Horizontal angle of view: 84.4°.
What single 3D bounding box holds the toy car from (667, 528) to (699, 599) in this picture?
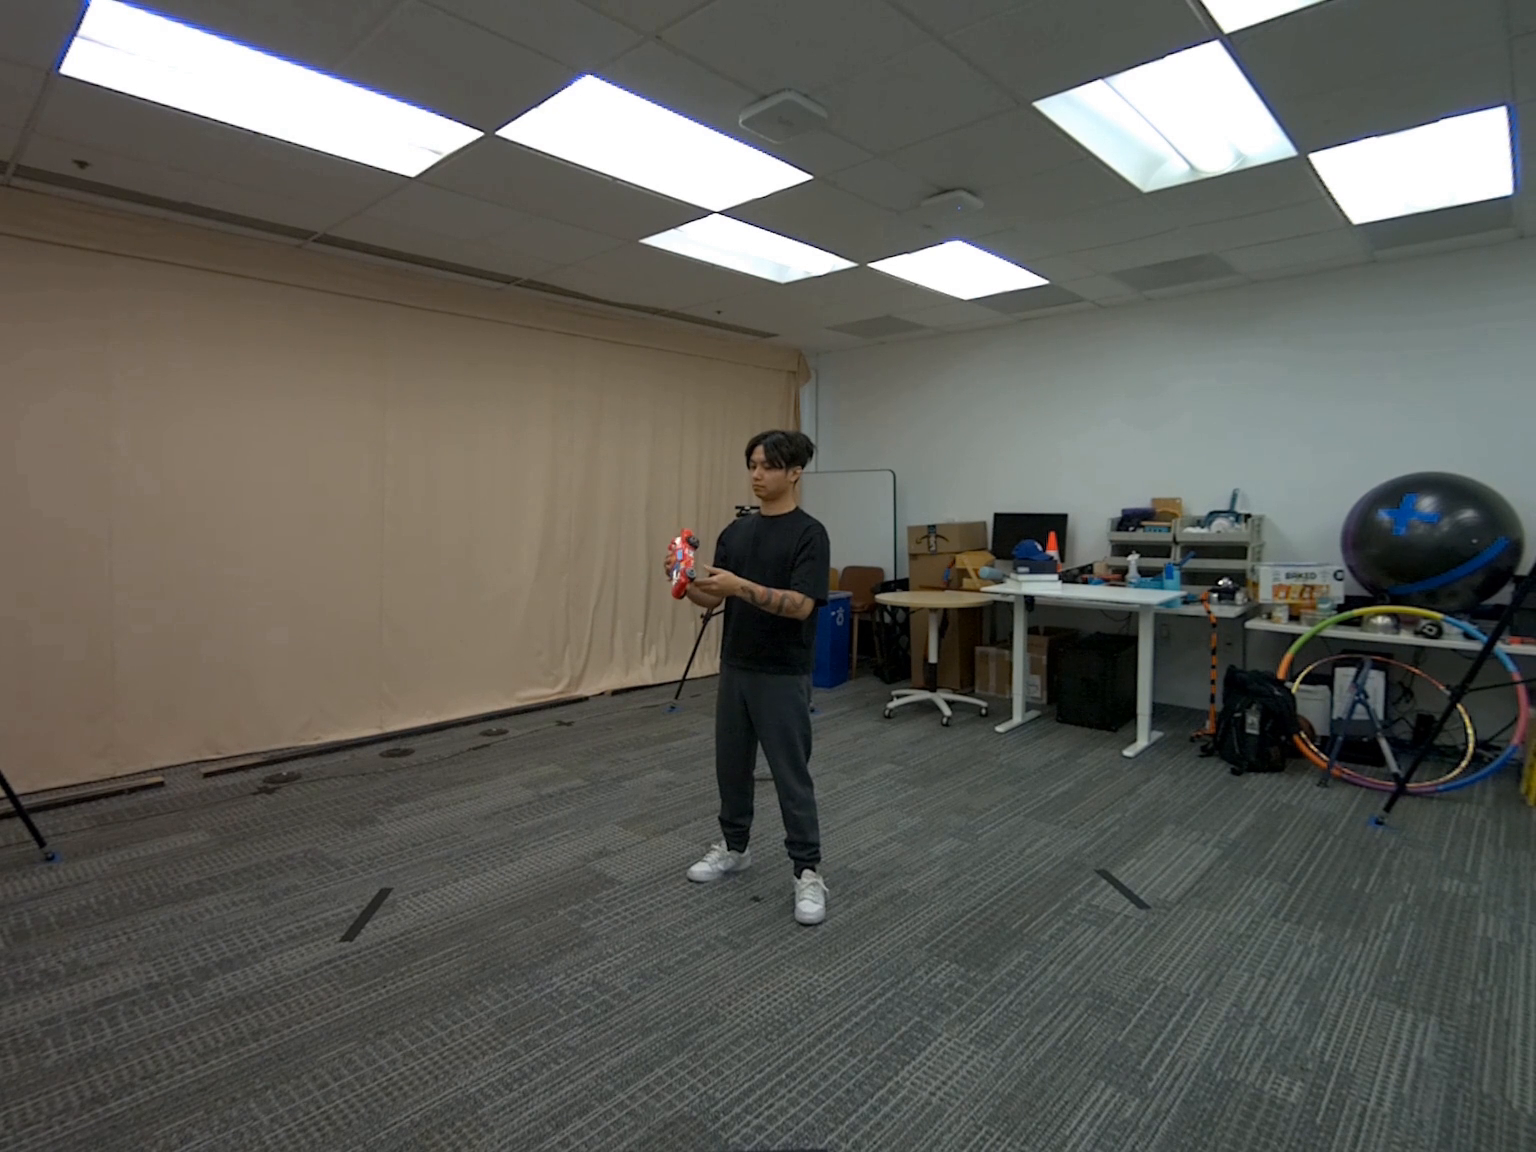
[{"bbox_3d":[-0.271,-0.045,2.741,0.081,0.261,0.130,7,-44,-25],"label":"toy car"}]
